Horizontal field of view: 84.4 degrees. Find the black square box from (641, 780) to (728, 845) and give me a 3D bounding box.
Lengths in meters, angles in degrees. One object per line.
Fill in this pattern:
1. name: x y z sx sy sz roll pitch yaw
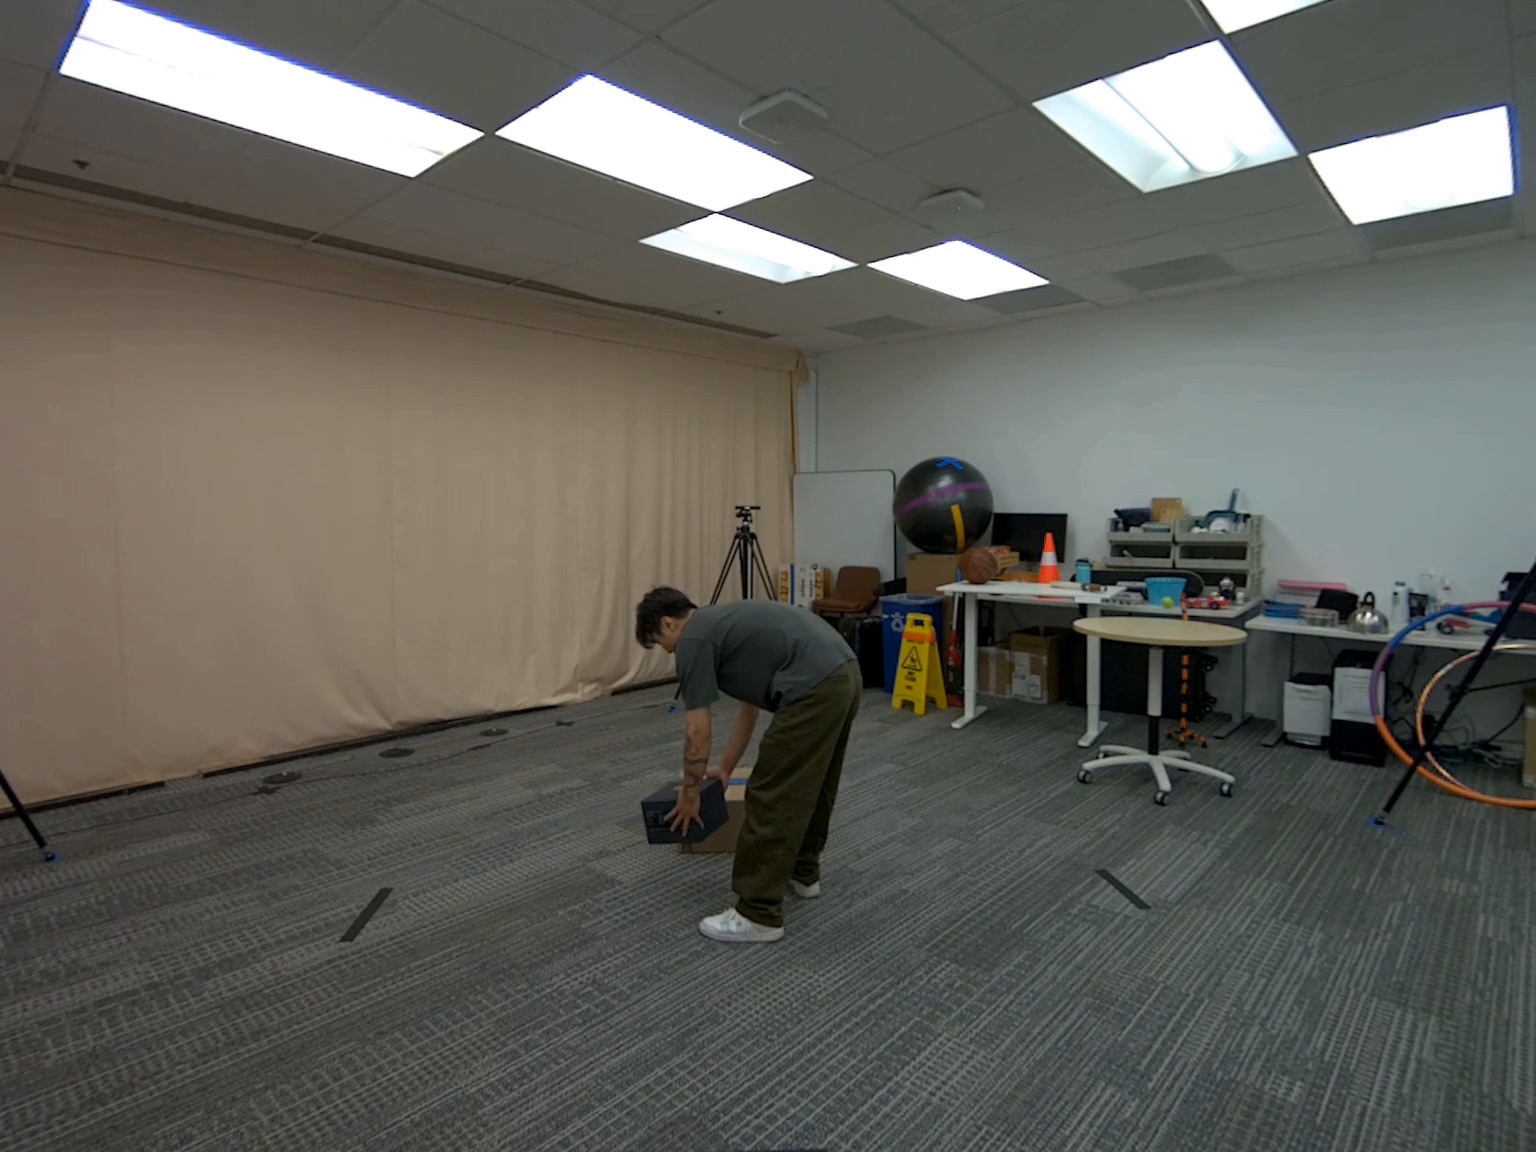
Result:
1. black square box: -0.297 0.849 3.036 0.222 0.156 0.223 -11 2 26
